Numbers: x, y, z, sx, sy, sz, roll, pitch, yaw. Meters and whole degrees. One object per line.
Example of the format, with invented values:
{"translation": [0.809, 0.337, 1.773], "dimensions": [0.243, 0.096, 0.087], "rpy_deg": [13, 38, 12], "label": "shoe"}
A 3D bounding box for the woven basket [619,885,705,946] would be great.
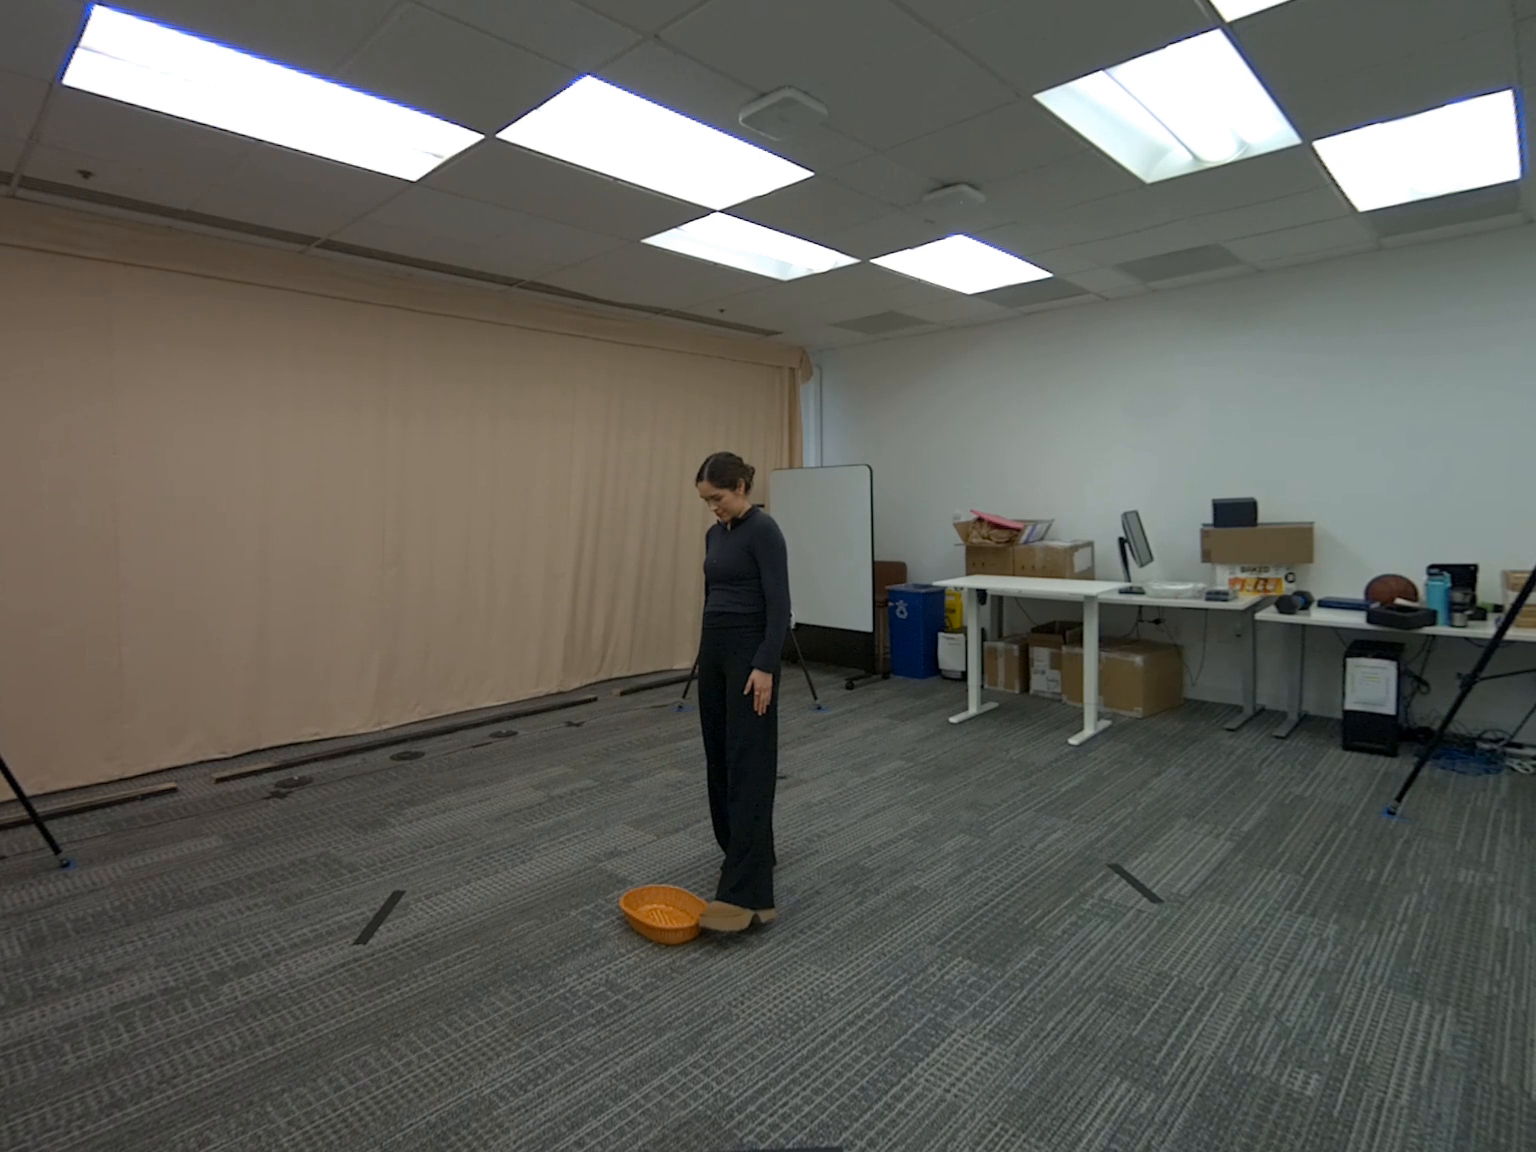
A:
{"translation": [-0.349, 1.126, 2.798], "dimensions": [0.245, 0.073, 0.361], "rpy_deg": [-3, 3, -37], "label": "woven basket"}
